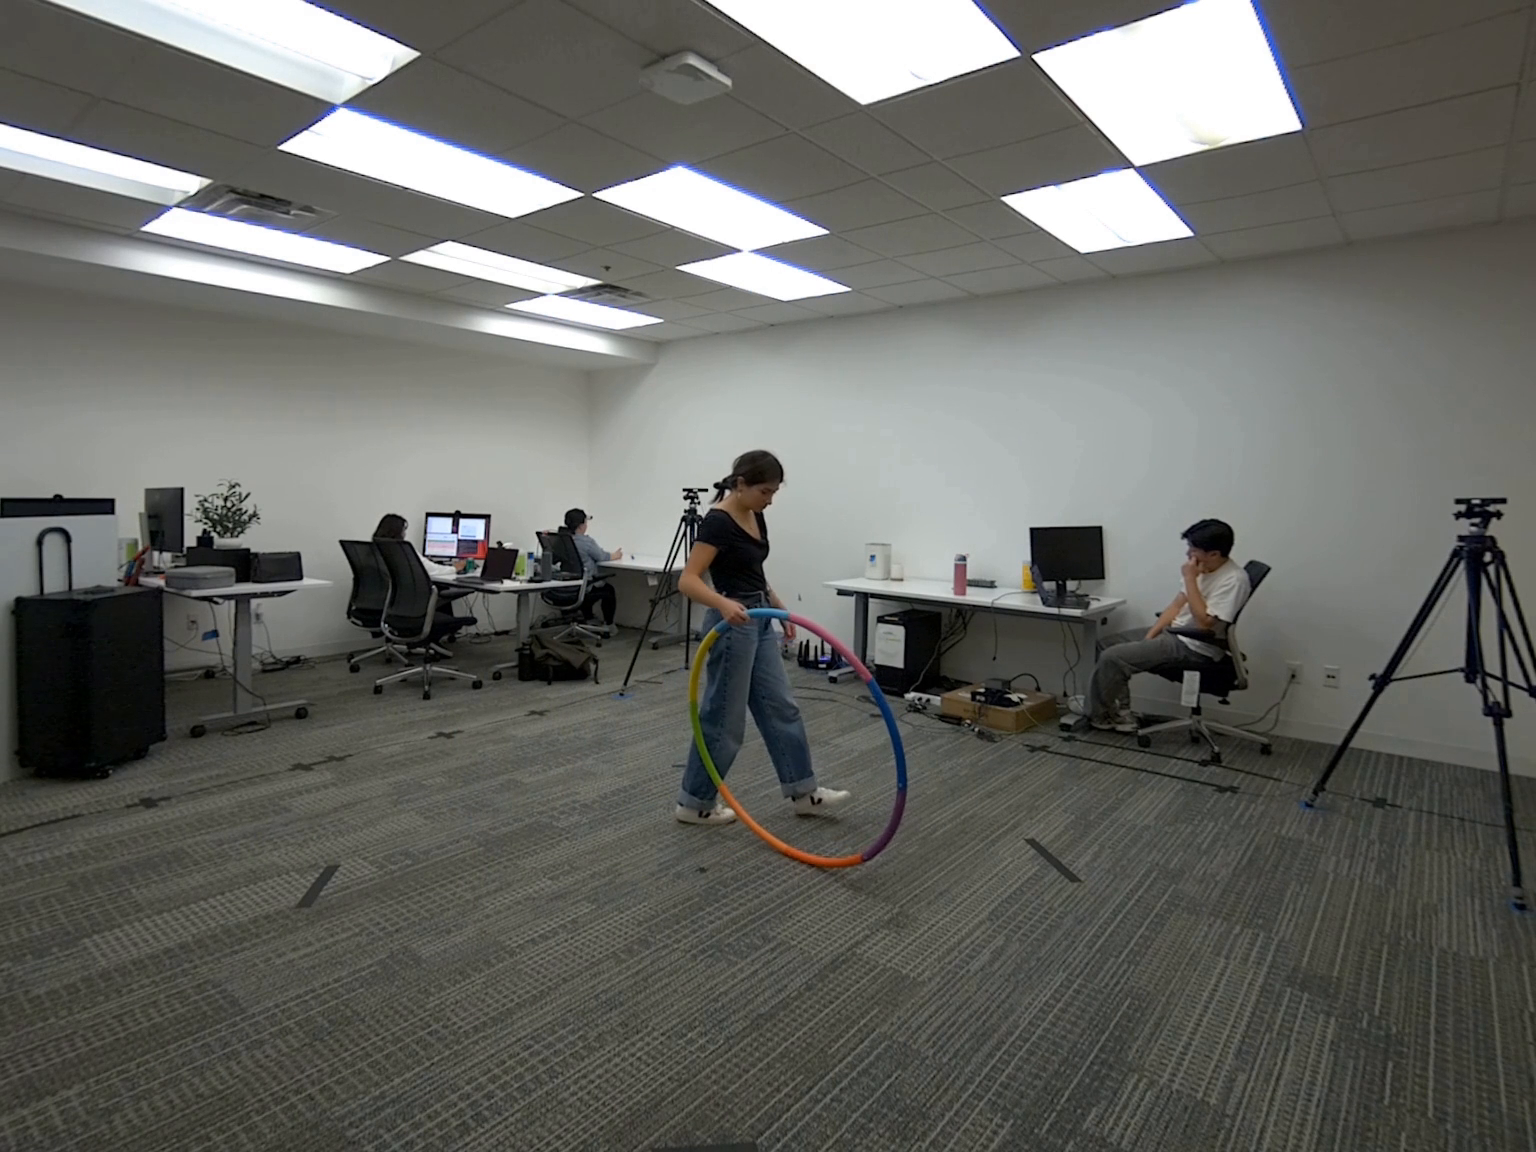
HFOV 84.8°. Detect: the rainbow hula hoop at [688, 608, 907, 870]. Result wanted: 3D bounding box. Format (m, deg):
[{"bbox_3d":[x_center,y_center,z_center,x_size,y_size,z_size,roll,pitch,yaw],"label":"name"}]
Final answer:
[{"bbox_3d":[0.081,0.585,3.101,1.012,0.966,0.035,5,16,41],"label":"rainbow hula hoop"}]
